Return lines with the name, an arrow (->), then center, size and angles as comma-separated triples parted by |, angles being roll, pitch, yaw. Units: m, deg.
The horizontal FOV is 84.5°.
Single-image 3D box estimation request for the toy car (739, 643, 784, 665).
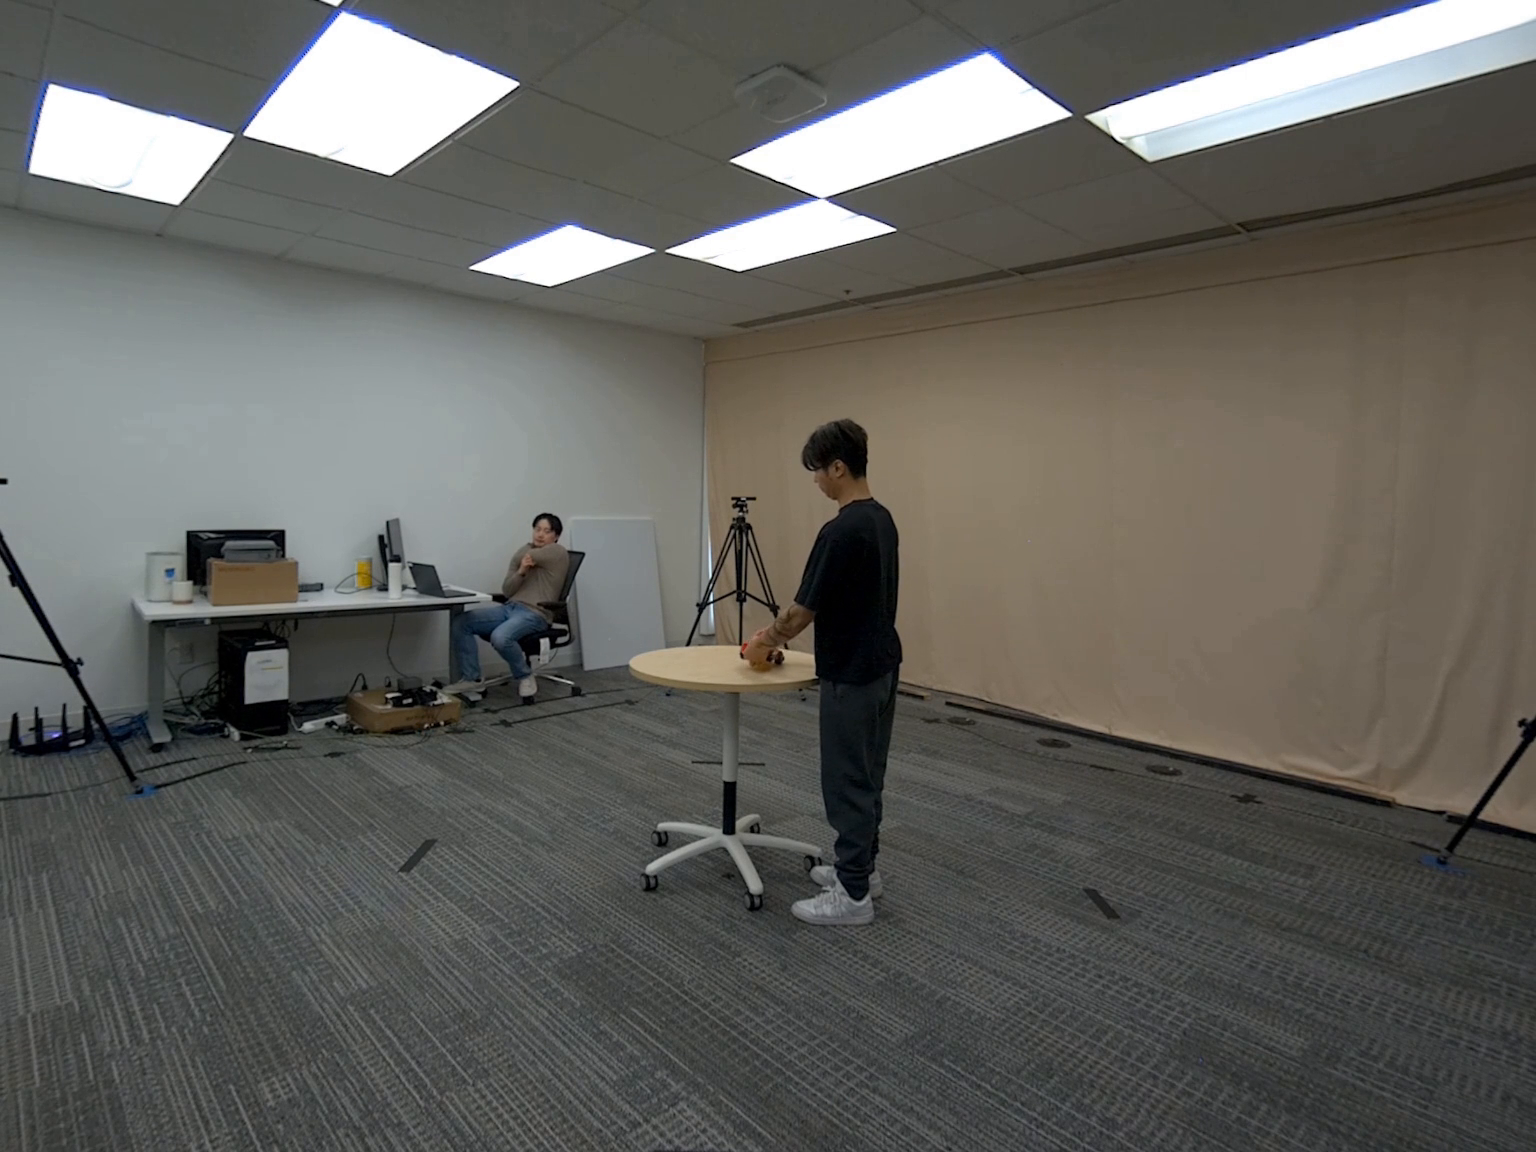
toy car -> -0.032, 0.284, 3.046 | 0.132, 0.084, 0.248 | 4, -16, 17
